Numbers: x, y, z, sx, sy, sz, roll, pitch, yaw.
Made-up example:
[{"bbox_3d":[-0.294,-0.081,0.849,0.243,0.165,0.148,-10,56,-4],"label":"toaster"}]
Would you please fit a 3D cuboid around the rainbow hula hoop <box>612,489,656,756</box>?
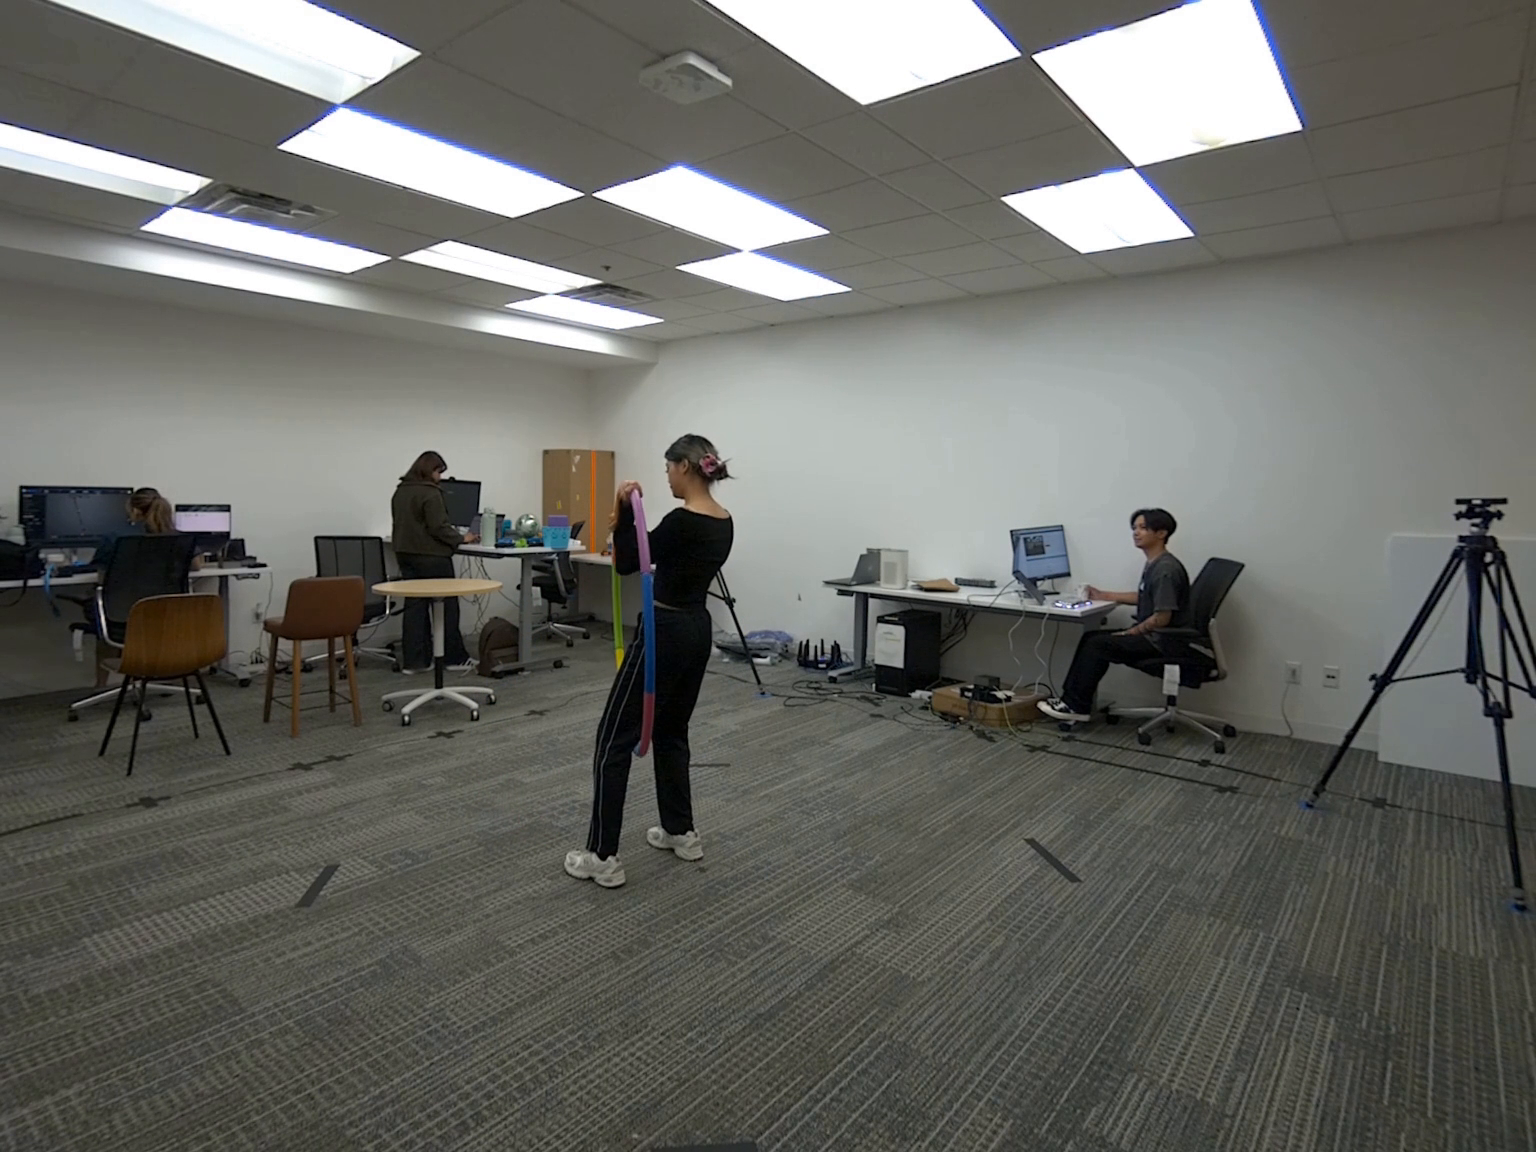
[{"bbox_3d":[-0.511,0.145,3.107,0.035,0.975,0.997,-2,5,-16],"label":"rainbow hula hoop"}]
